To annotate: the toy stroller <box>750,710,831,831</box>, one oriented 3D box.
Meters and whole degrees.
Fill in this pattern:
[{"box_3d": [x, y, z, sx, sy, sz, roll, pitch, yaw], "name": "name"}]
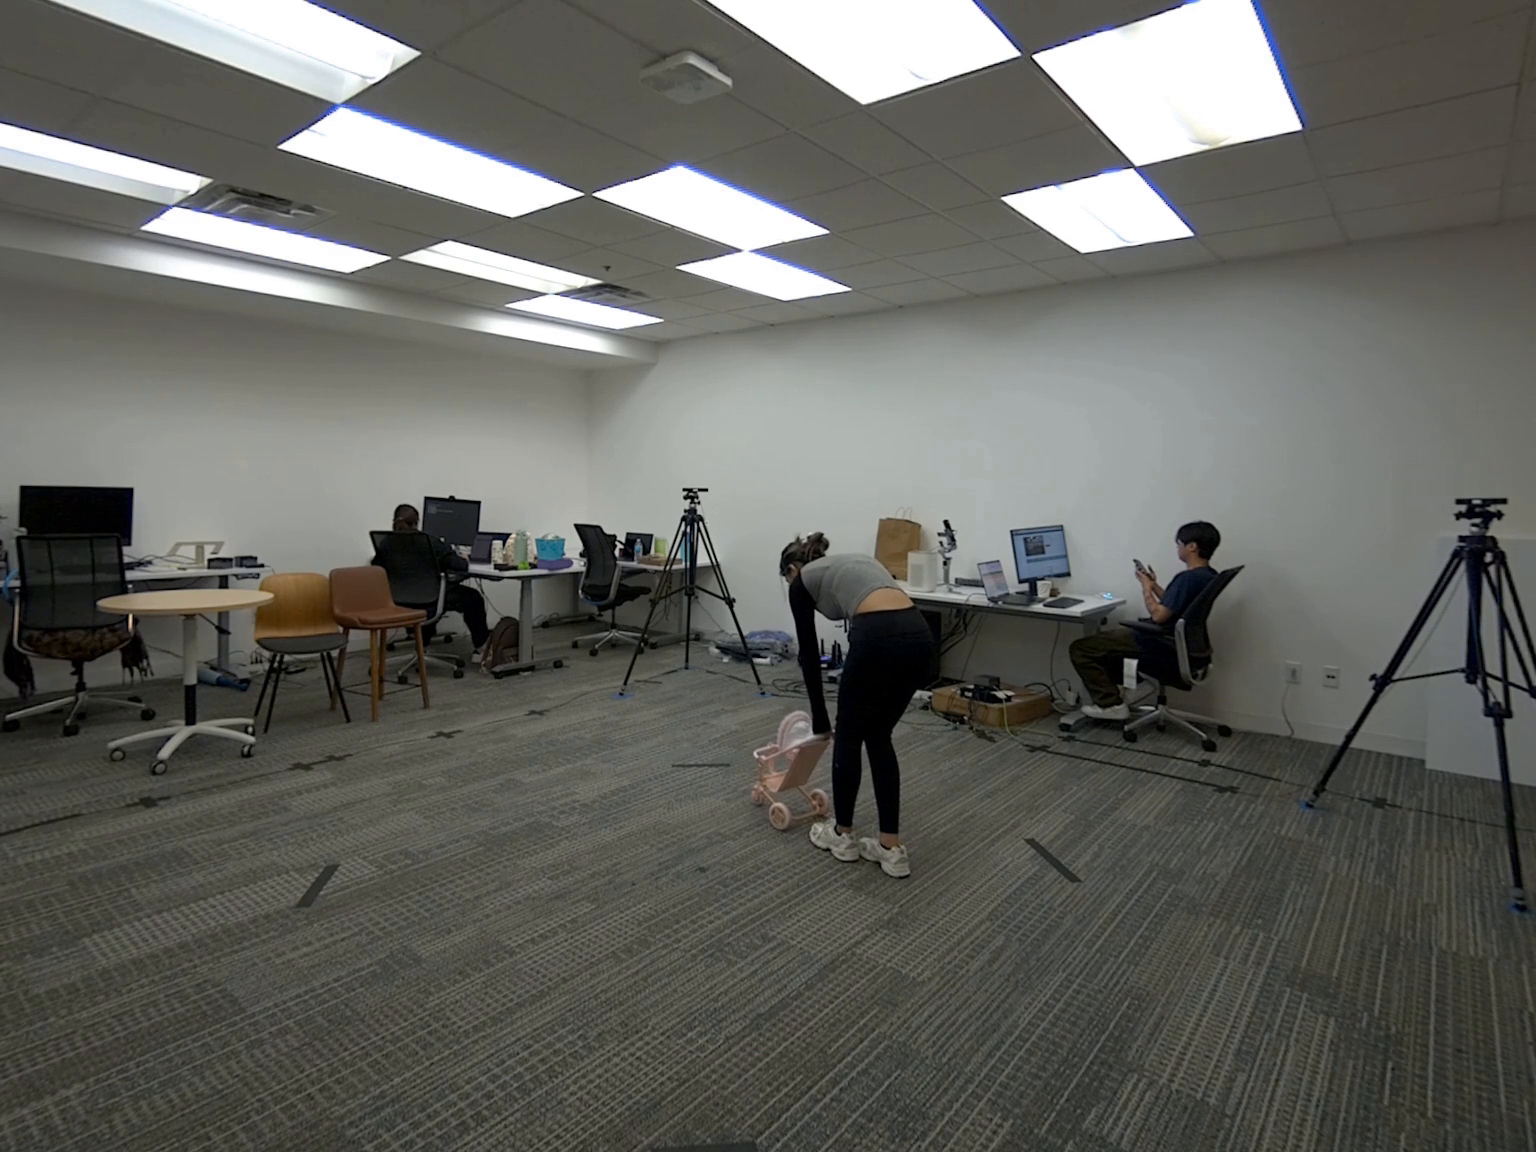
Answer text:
[{"box_3d": [0.090, 0.803, 3.617, 0.273, 0.529, 0.356, 0, 20, -41], "name": "toy stroller"}]
